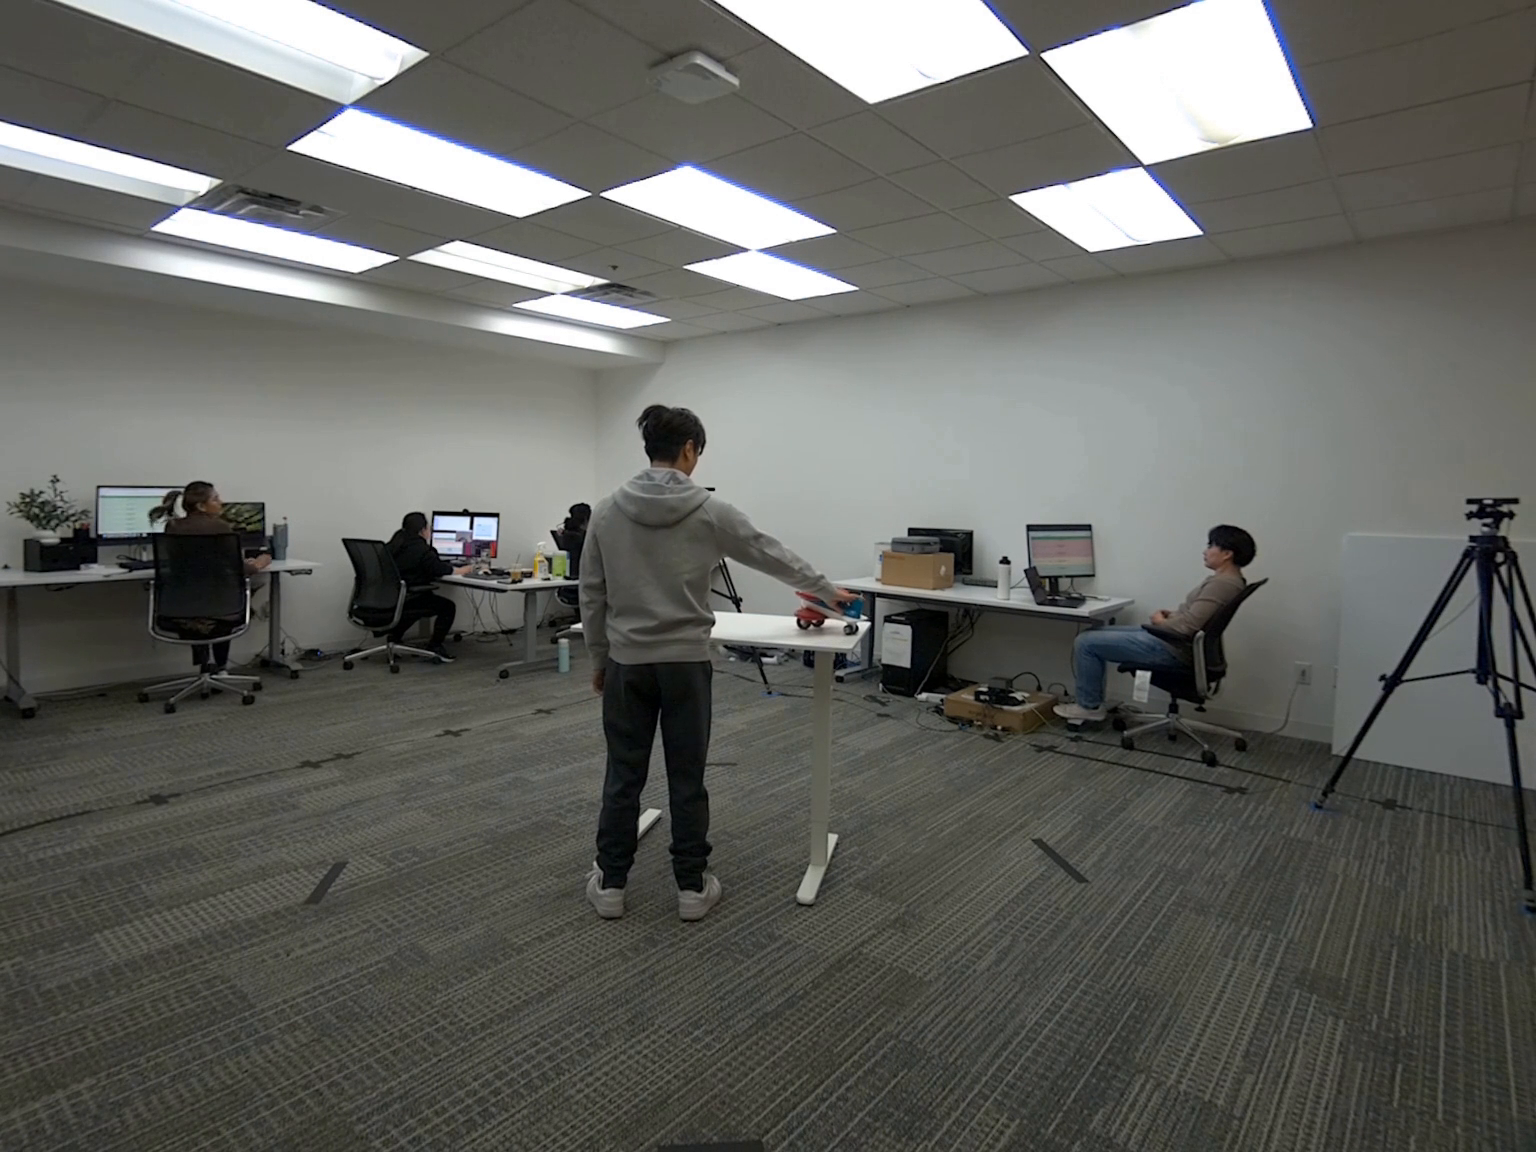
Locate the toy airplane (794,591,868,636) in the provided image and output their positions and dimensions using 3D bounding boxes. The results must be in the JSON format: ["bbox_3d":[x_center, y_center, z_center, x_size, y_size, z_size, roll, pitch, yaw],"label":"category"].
[{"bbox_3d":[0.219,0.119,3.106,0.263,0.156,0.249,1,6,12],"label":"toy airplane"}]
